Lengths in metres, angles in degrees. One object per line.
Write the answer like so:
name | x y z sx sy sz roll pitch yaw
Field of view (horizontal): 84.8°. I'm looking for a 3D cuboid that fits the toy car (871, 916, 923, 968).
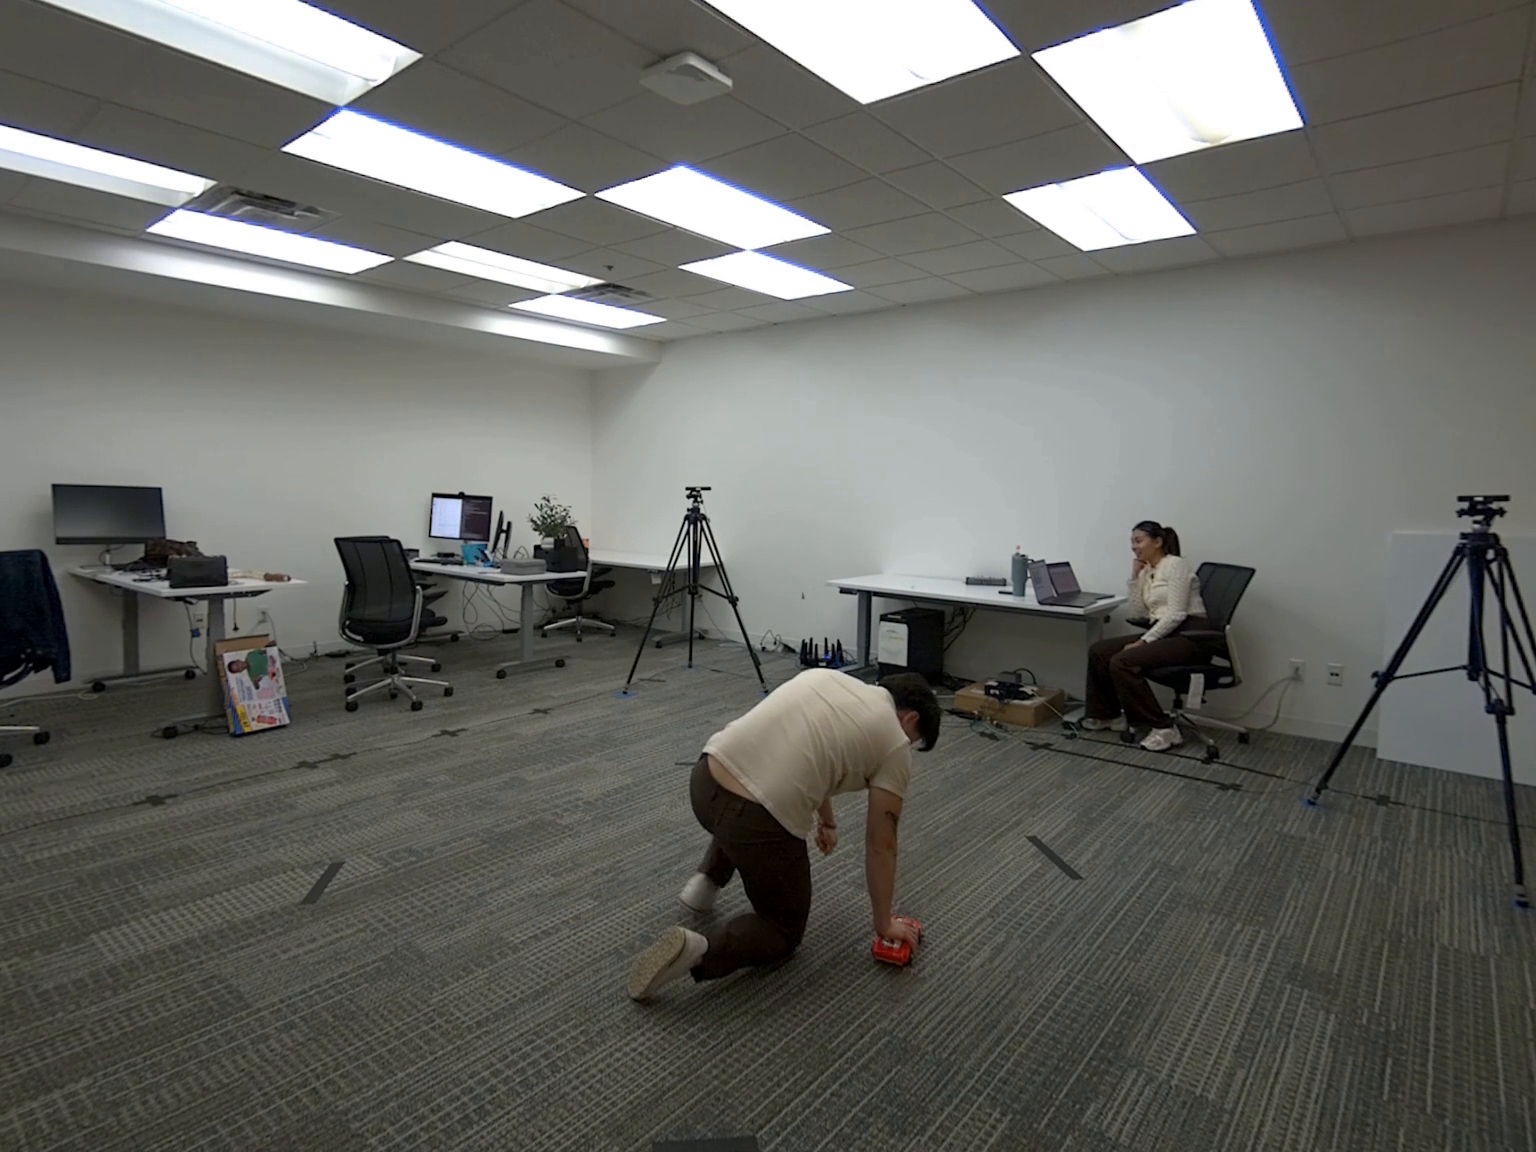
toy car | 0.386 1.107 2.569 0.133 0.083 0.247 5 -3 23
